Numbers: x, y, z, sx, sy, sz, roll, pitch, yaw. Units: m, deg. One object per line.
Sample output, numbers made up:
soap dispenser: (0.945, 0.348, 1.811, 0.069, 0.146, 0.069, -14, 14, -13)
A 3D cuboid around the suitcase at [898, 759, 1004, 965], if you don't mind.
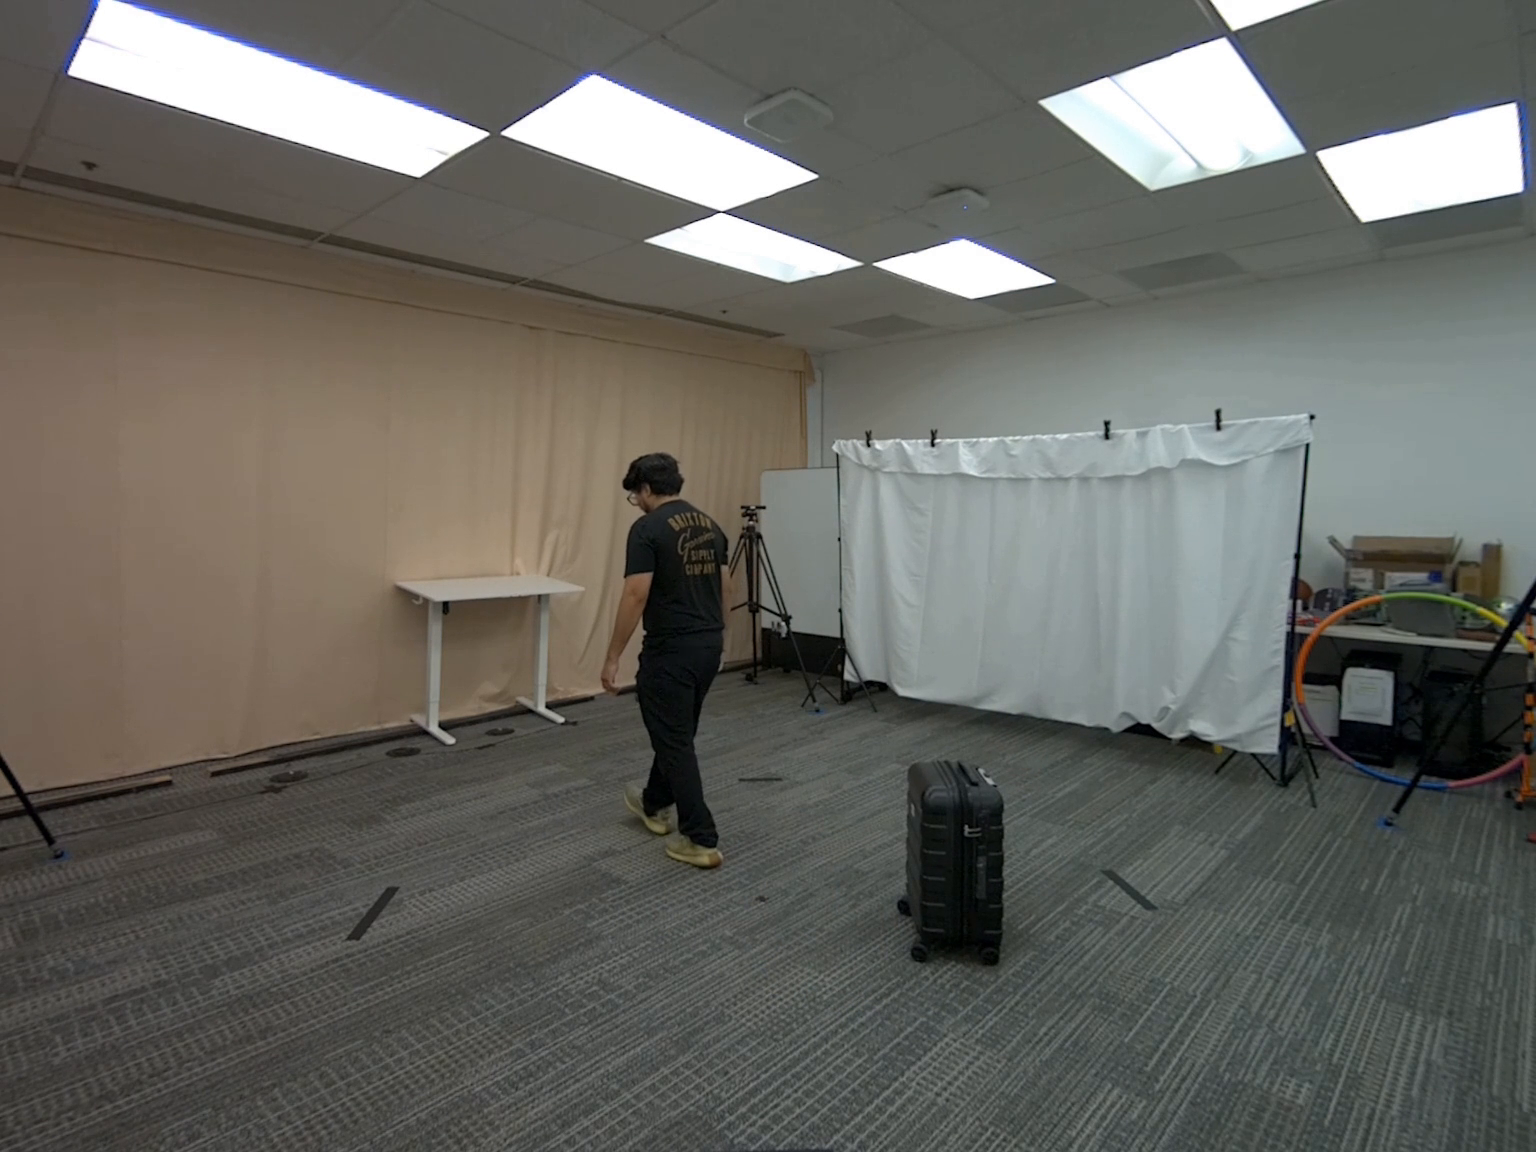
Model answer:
suitcase: (0.600, 0.890, 2.691, 0.249, 0.548, 0.375, 0, 4, 2)
